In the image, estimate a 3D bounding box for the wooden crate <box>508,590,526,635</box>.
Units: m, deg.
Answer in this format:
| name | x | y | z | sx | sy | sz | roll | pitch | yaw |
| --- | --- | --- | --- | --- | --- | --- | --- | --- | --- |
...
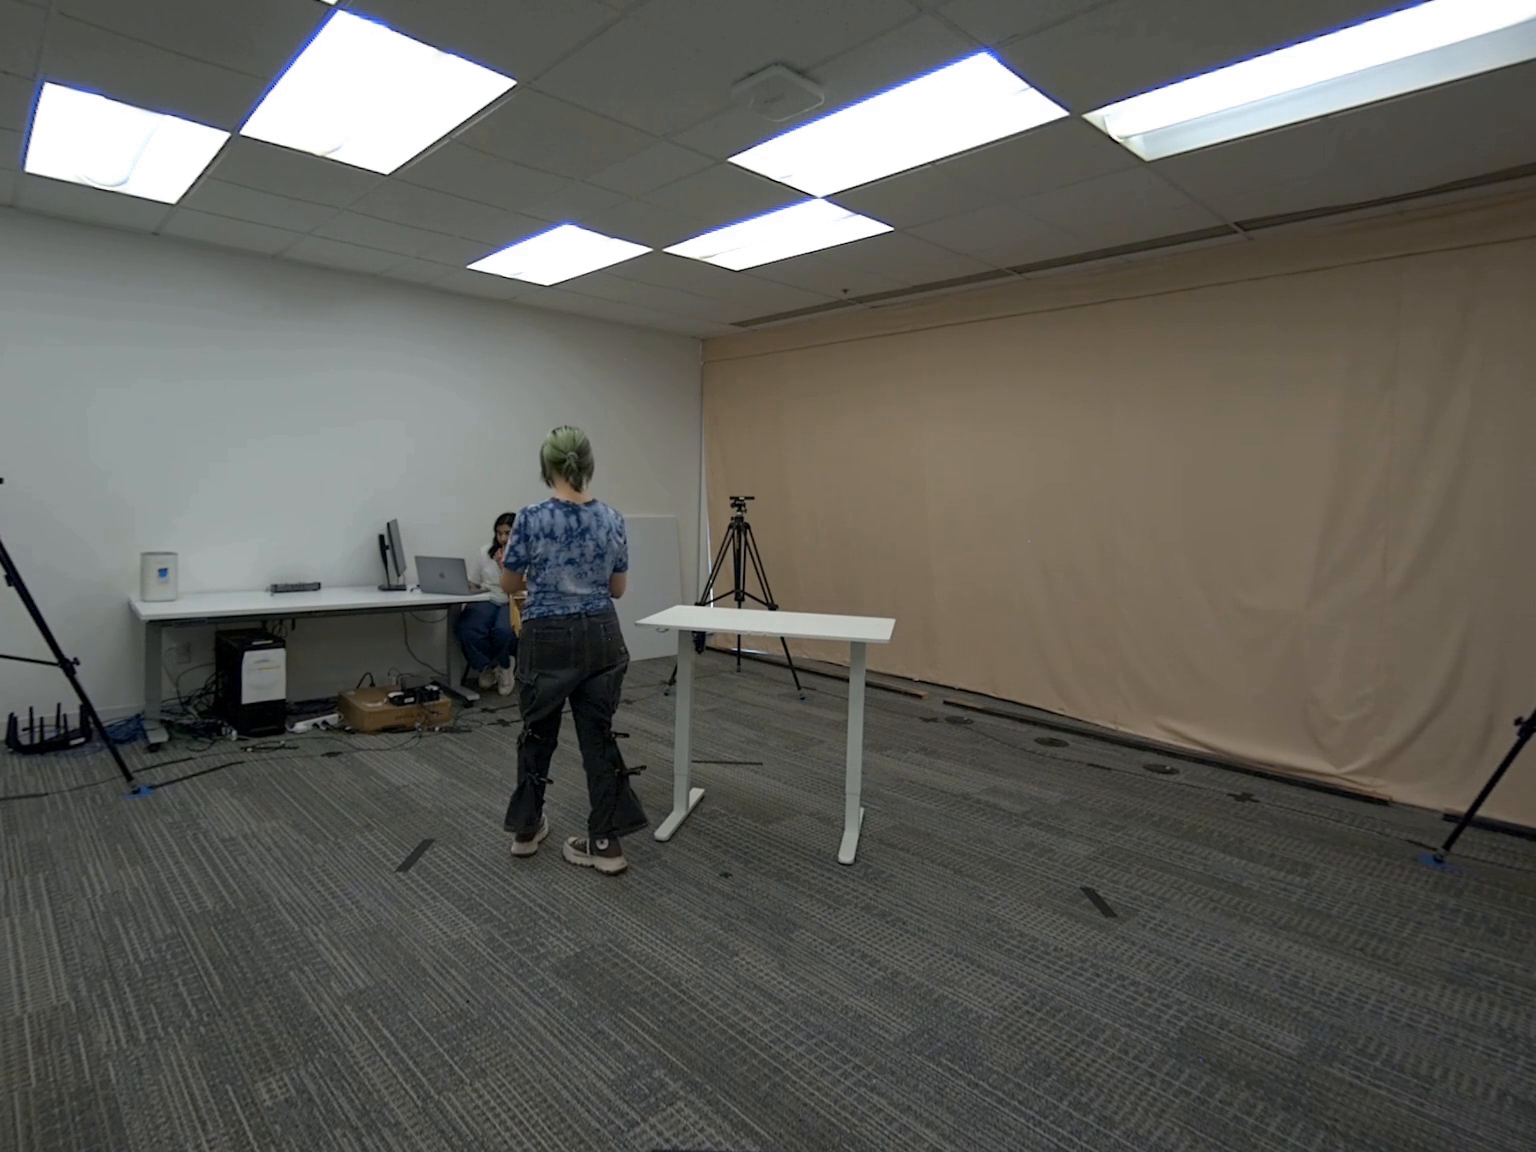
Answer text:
| name | x | y | z | sx | sy | sz | roll | pitch | yaw |
| --- | --- | --- | --- | --- | --- | --- | --- | --- | --- |
| wooden crate | -0.915 | 0.080 | 3.513 | 0.319 | 0.271 | 0.310 | 0 | 16 | -24 |
